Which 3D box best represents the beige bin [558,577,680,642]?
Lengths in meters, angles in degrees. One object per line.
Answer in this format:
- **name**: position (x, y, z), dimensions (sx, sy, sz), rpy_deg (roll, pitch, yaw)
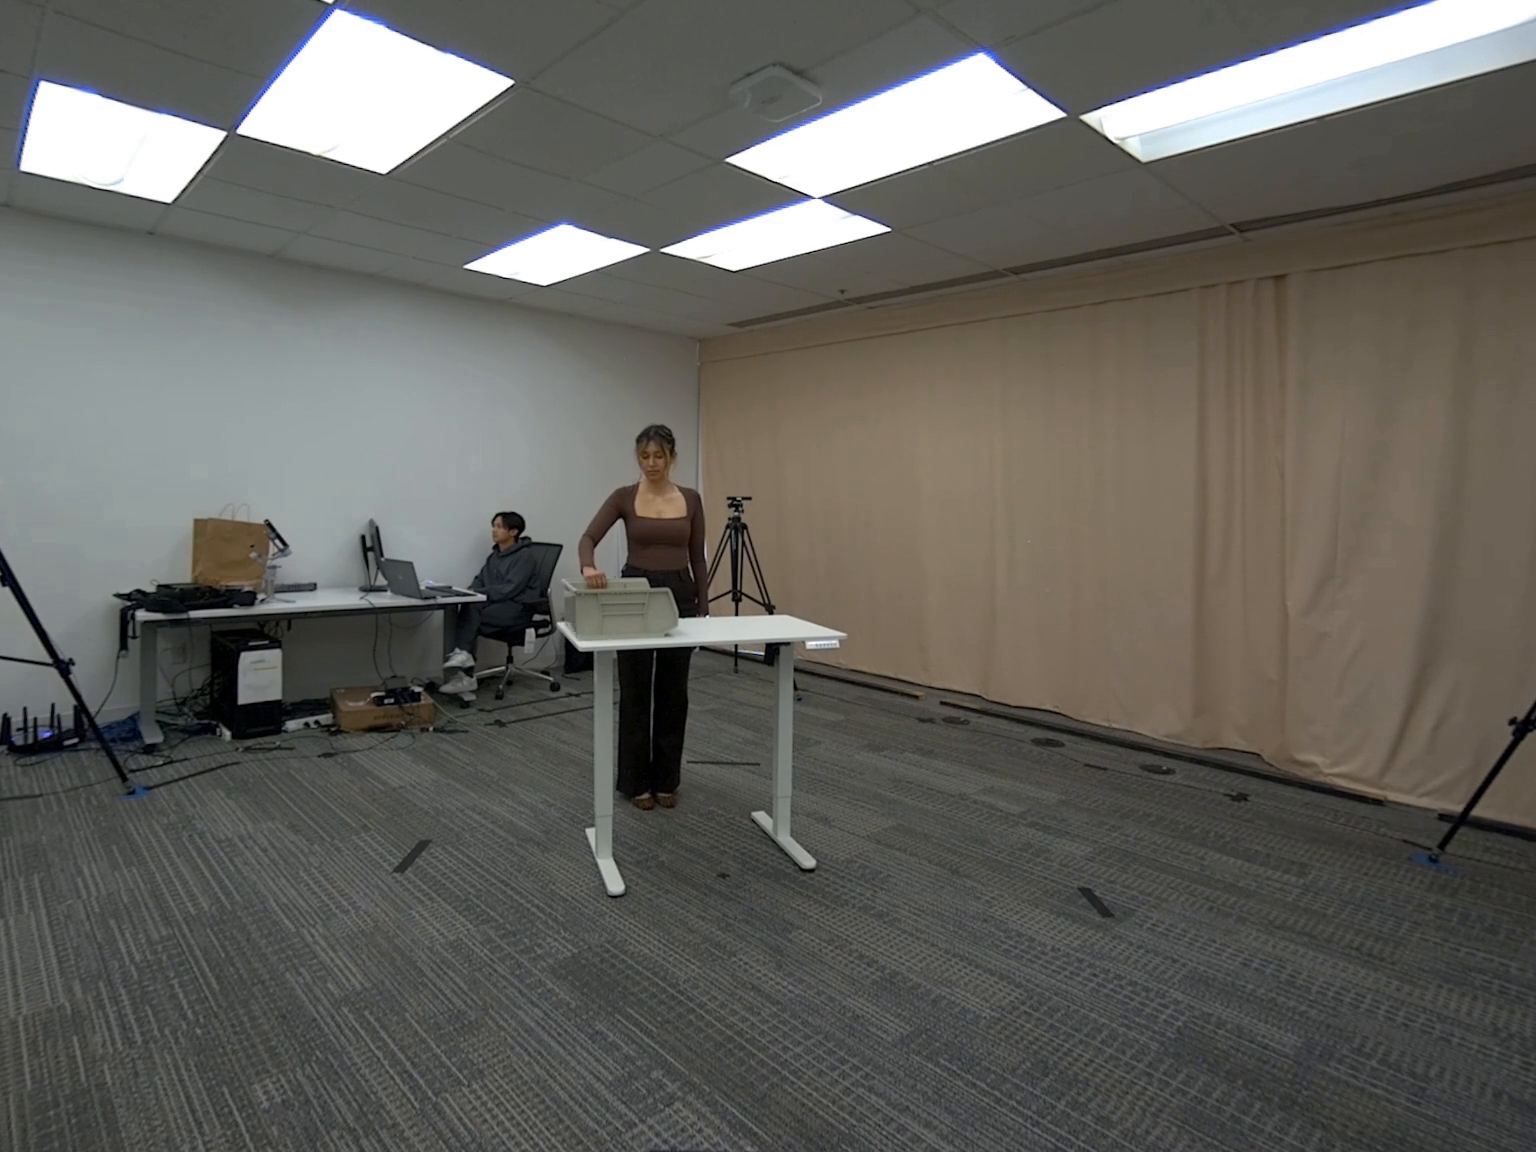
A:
- **beige bin**: position (-0.581, 0.123, 3.192), dimensions (0.372, 0.188, 0.429), rpy_deg (-2, 6, -19)
